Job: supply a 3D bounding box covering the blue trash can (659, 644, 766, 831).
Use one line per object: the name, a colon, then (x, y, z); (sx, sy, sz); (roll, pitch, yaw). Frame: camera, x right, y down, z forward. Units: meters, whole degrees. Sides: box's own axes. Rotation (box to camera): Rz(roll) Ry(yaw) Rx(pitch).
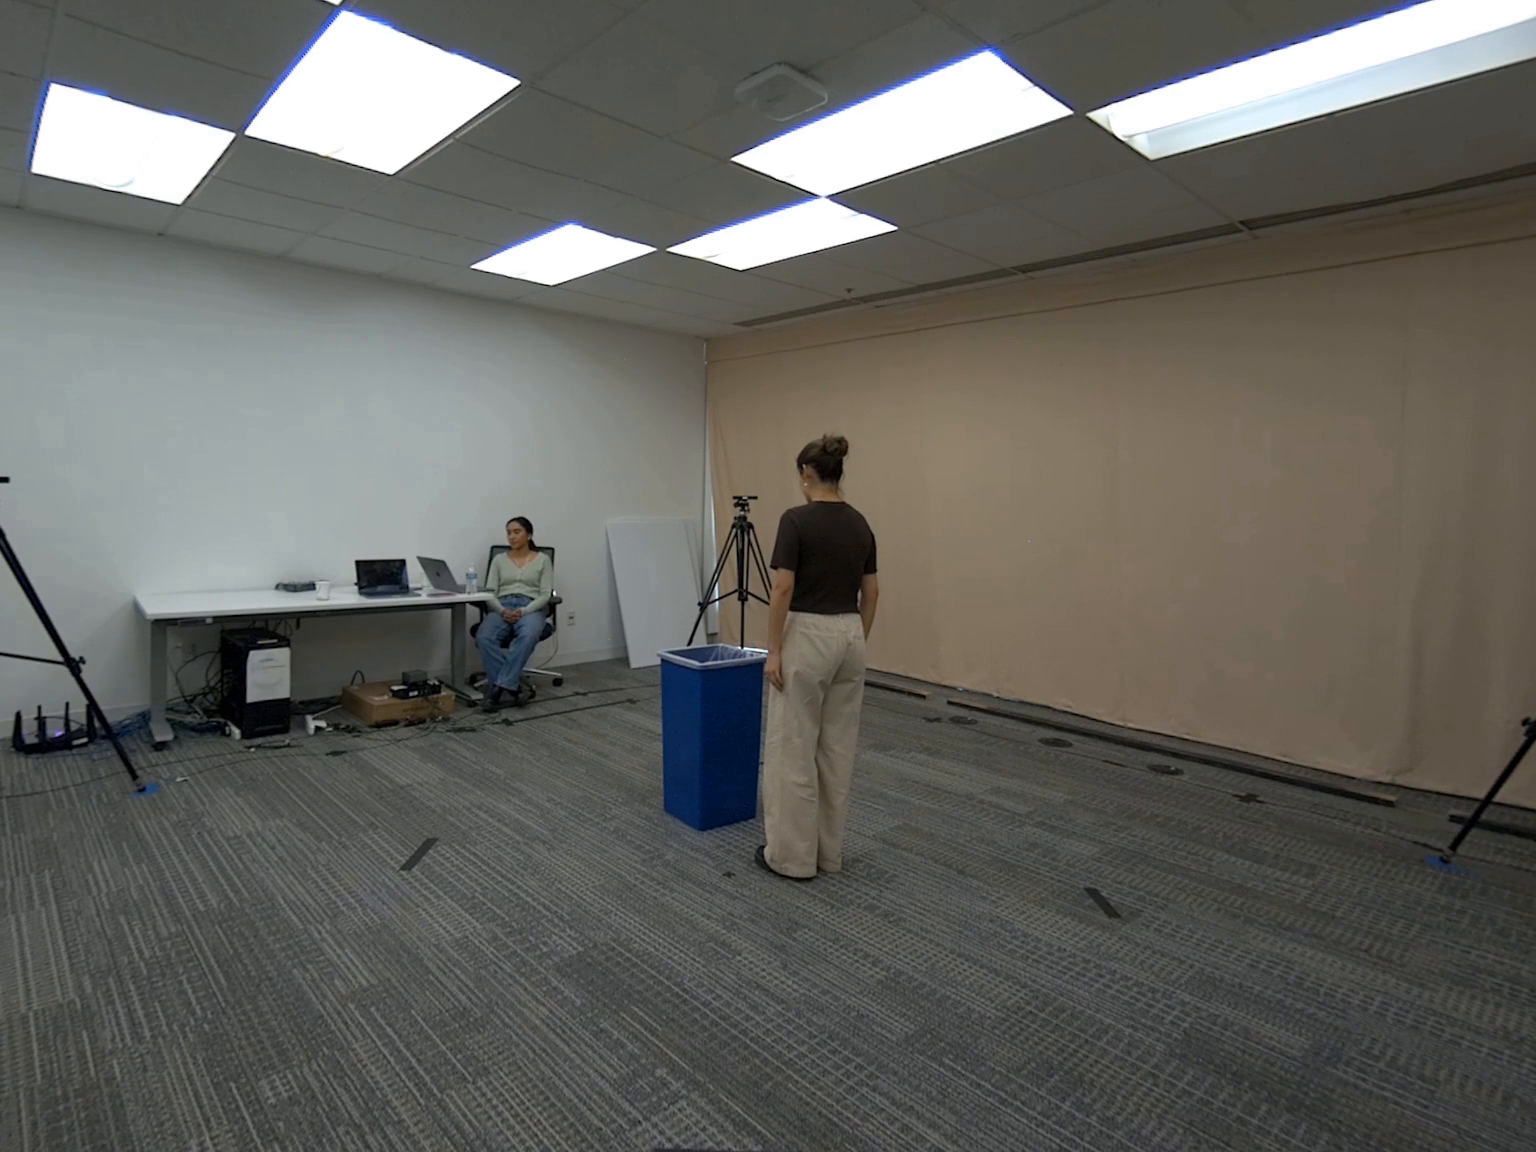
blue trash can: (-0.265, 0.691, 3.693); (0.369, 0.712, 0.383); (-2, 4, -38)
